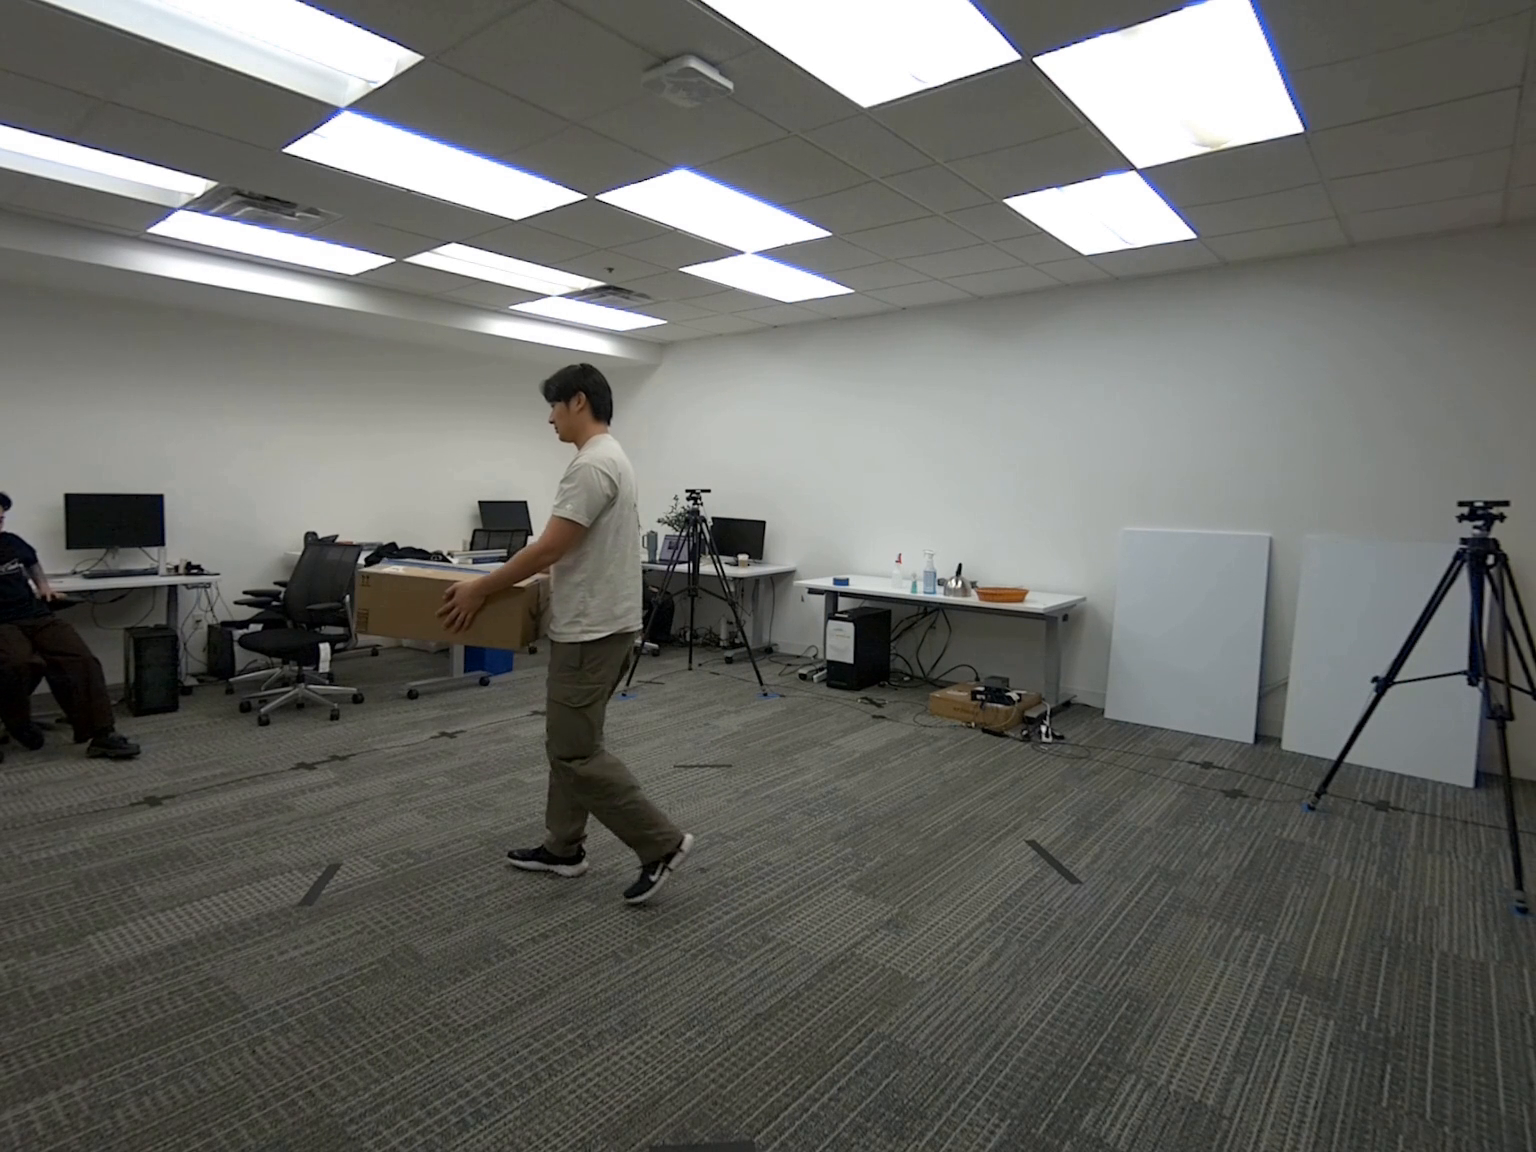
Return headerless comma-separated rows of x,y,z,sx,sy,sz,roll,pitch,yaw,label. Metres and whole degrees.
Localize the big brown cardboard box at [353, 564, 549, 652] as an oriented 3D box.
-1.096,0.087,2.990,0.590,0.232,0.418,7,5,1,big brown cardboard box
